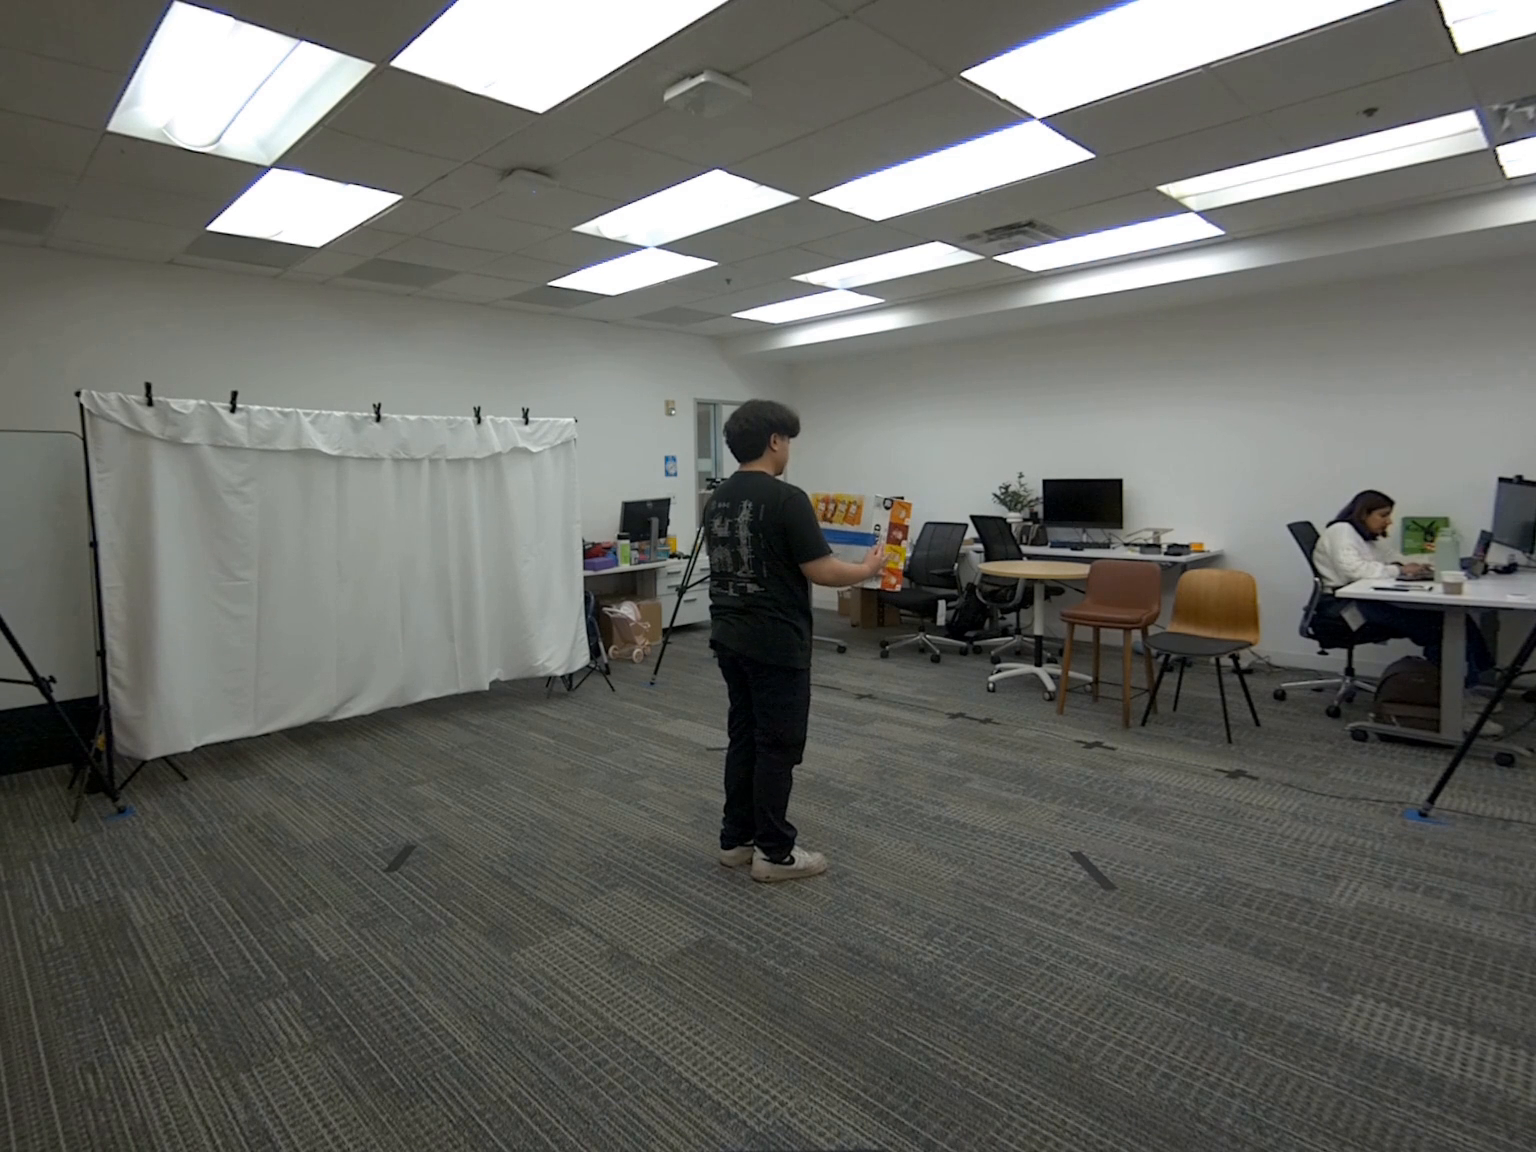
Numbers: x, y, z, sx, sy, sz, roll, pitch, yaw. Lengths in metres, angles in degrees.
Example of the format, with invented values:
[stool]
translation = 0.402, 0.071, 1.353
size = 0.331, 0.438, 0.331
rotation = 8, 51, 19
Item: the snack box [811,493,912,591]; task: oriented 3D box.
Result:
[snack box]
translation = 0.319, -0.141, 3.317
size = 0.199, 0.340, 0.418
rotation = 9, 0, -39
